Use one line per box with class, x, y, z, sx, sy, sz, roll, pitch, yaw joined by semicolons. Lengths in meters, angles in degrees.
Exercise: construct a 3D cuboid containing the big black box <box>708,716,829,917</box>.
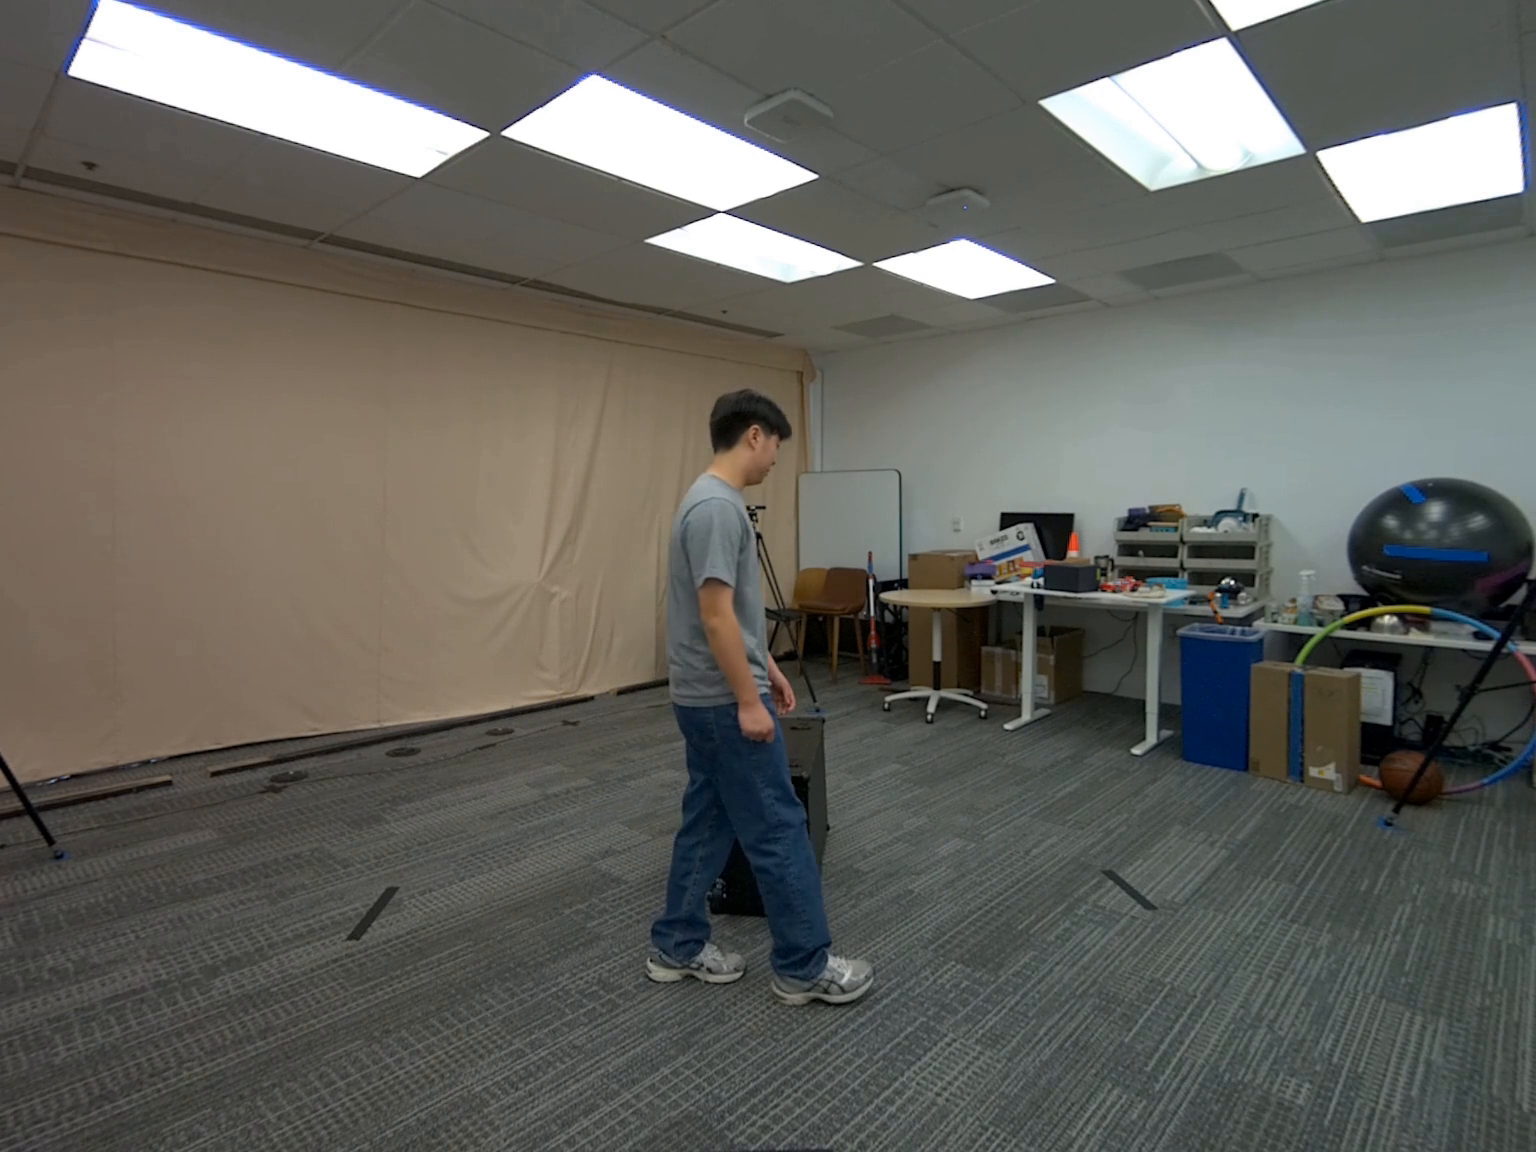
big black box;0.018;0.869;3.238;0.401;0.520;0.854;-1;4;9
